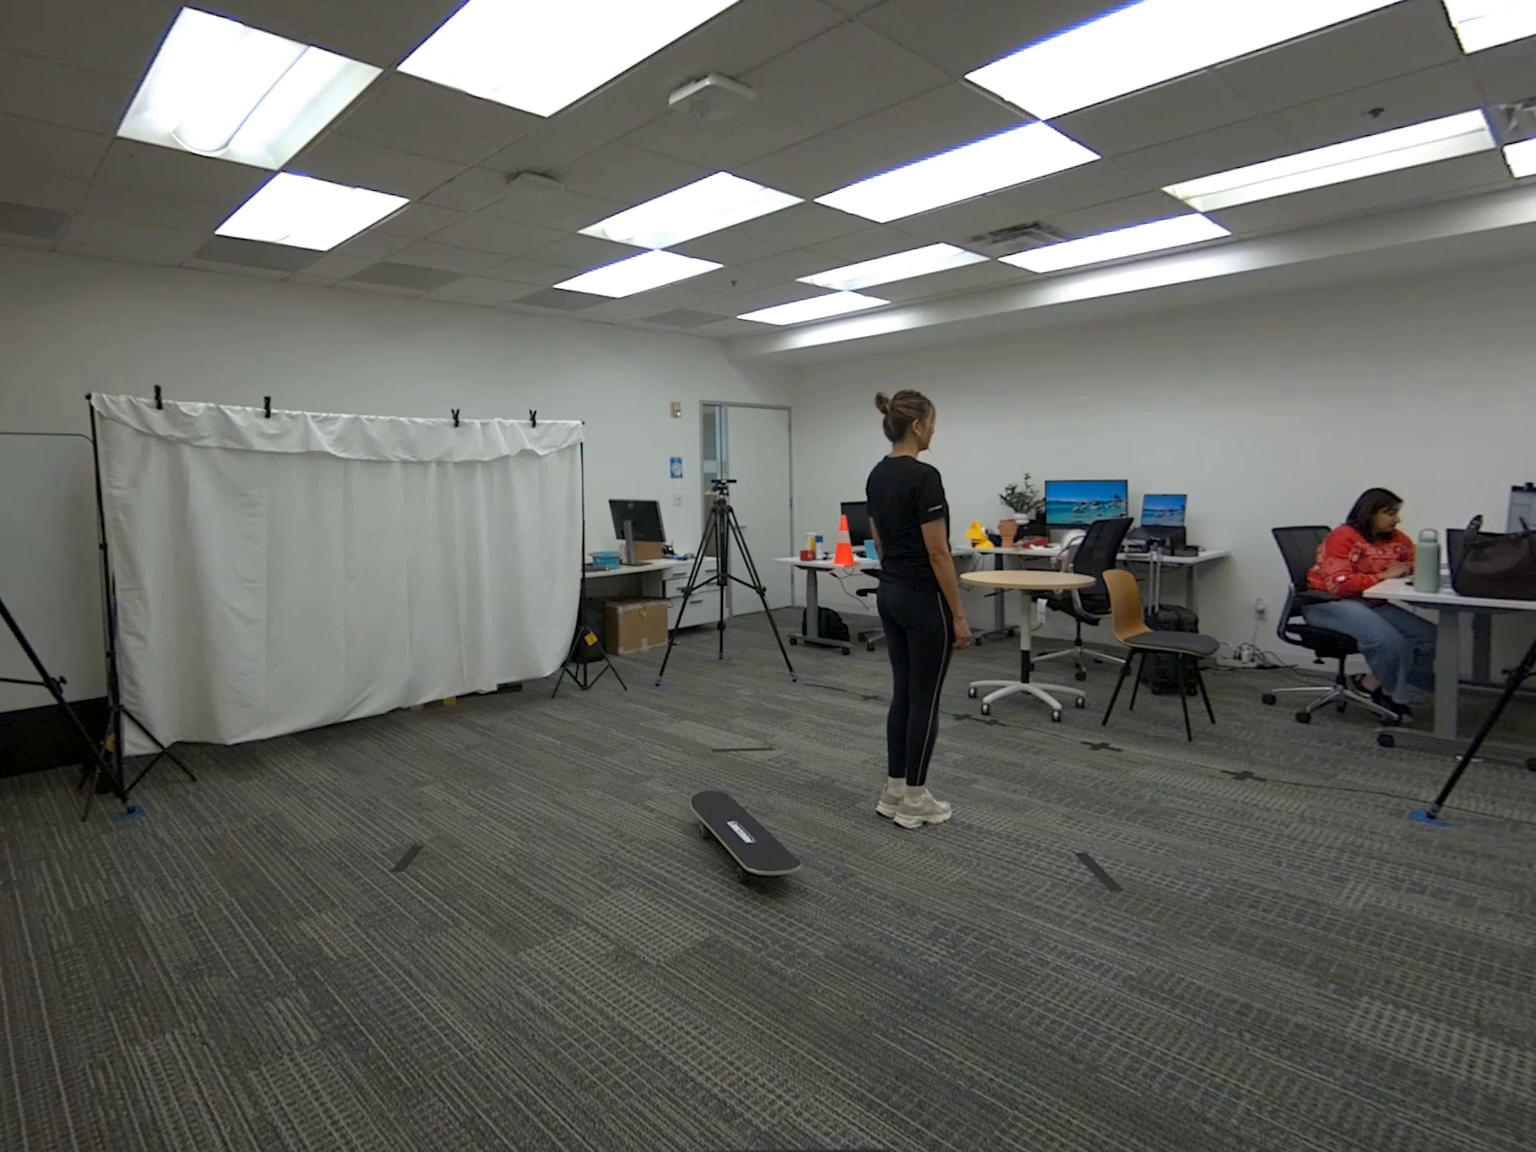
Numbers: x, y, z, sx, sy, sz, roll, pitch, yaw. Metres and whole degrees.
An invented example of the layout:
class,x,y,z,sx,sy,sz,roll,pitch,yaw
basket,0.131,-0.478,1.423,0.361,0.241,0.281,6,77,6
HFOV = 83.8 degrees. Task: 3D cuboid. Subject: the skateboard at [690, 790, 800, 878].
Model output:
class,x,y,z,sx,sy,sz,roll,pitch,yaw
skateboard,-0.097,0.981,3.182,0.190,0.110,0.804,-2,6,-23
